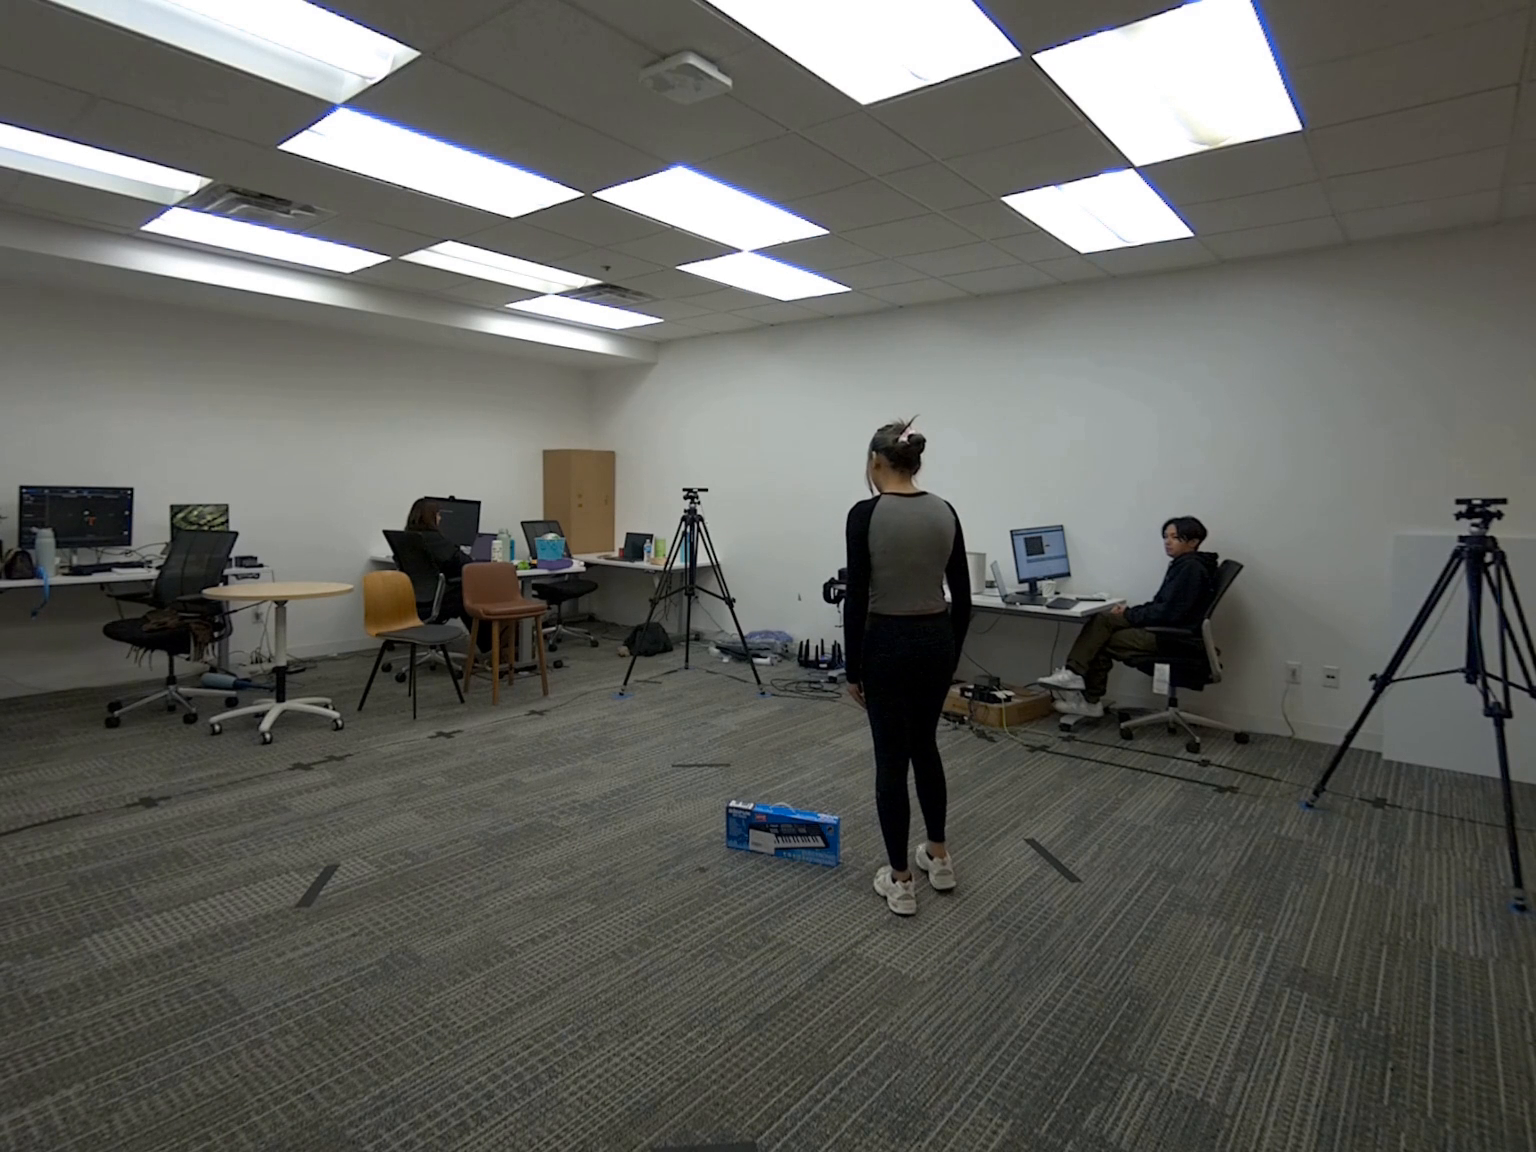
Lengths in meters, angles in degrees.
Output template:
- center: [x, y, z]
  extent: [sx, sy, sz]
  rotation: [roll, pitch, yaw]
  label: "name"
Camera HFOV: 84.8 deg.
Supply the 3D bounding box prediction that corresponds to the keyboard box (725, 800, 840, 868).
- center: [0.046, 0.974, 3.238]
  extent: [0.446, 0.174, 0.058]
  rotation: [3, 9, 20]
  label: "keyboard box"
